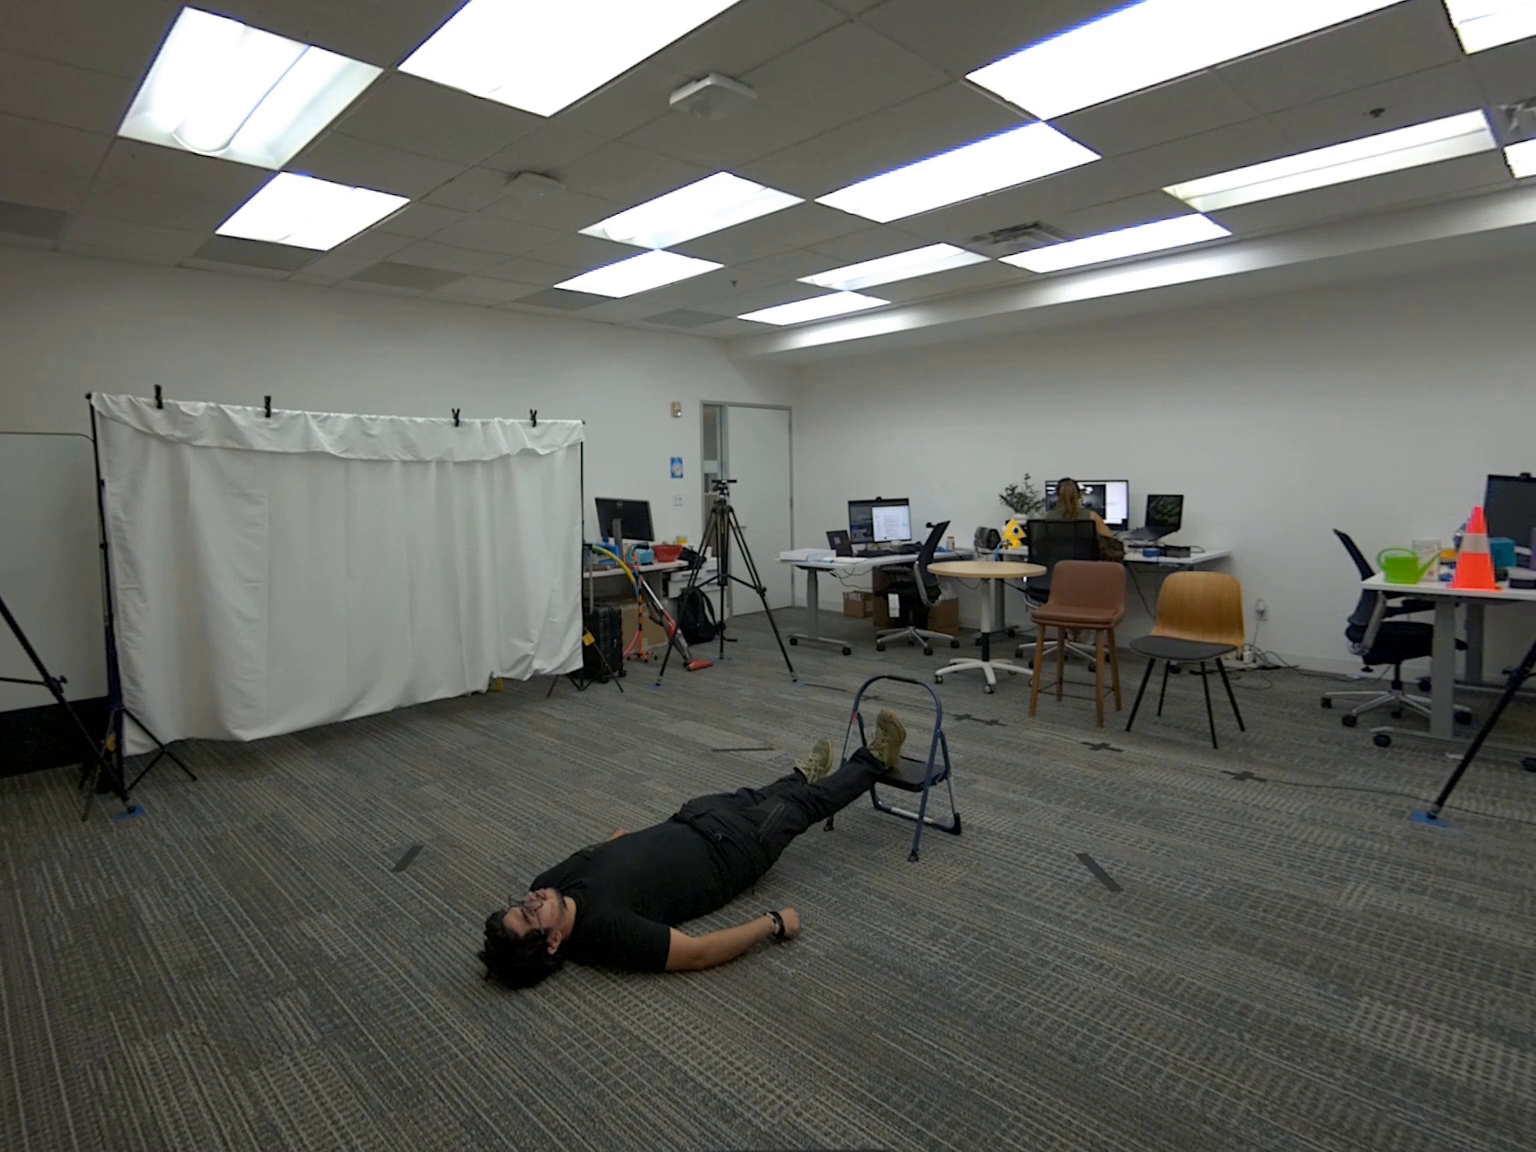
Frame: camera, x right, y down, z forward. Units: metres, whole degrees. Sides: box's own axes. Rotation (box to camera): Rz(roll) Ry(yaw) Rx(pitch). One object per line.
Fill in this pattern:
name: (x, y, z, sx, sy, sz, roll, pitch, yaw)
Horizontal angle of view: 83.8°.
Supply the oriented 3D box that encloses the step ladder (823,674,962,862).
step ladder: (0.493, 0.707, 3.354, 0.444, 0.604, 0.340, 4, 6, 44)
